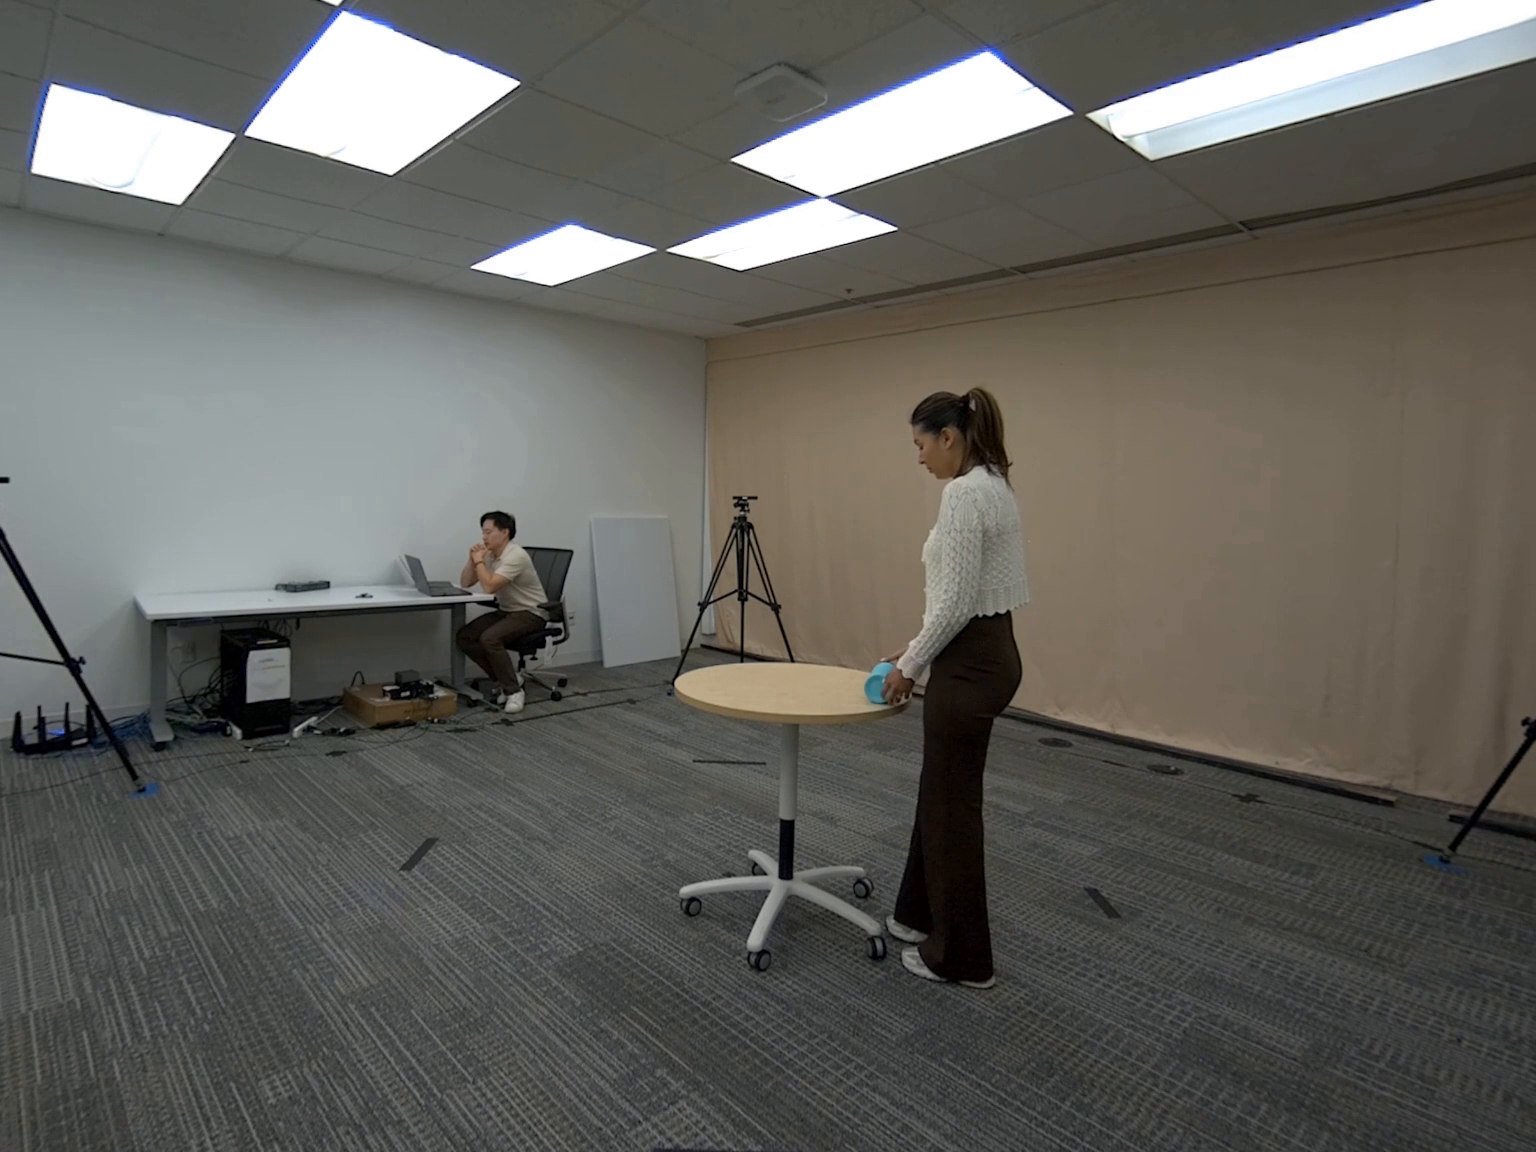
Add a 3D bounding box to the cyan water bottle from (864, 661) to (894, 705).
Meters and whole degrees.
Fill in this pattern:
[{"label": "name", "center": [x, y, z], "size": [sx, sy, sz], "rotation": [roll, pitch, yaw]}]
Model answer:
[{"label": "cyan water bottle", "center": [0.366, 0.333, 2.648], "size": [0.093, 0.092, 0.280], "rotation": [2, 4, 14]}]
